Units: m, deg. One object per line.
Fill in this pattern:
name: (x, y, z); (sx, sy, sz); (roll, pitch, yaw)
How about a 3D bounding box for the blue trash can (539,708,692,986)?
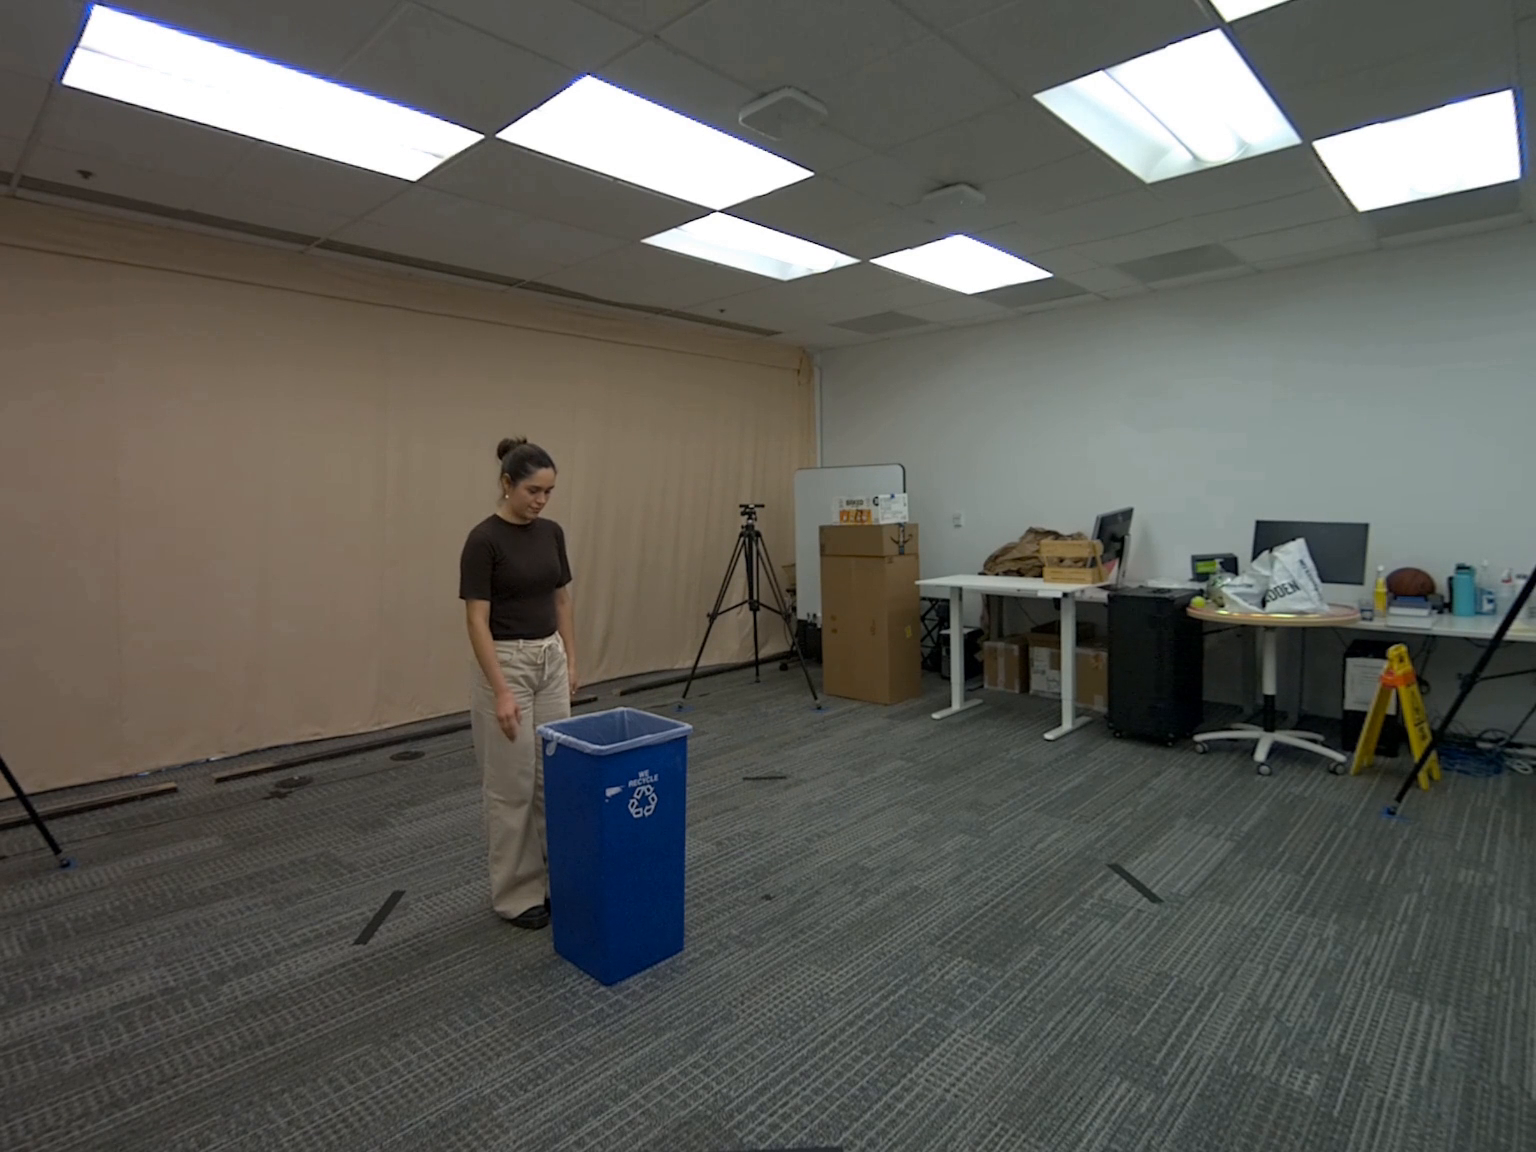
blue trash can: (-0.466, 0.822, 2.628); (0.366, 0.712, 0.386); (-4, 4, -44)
